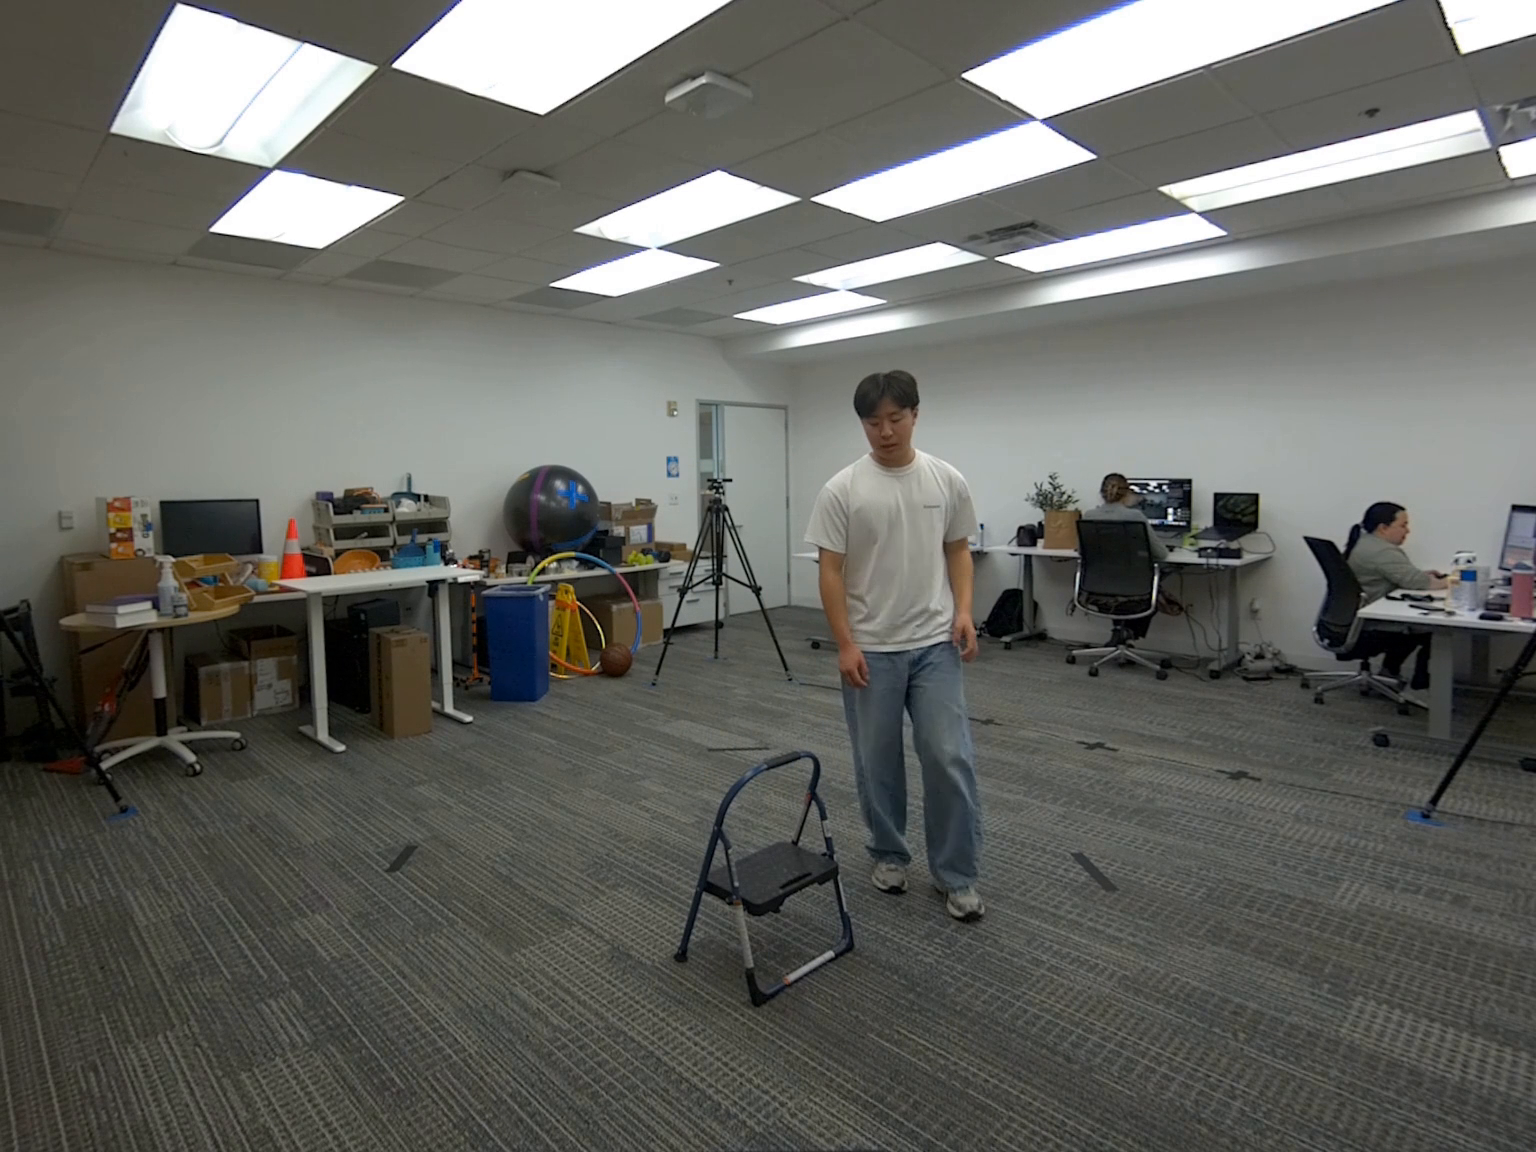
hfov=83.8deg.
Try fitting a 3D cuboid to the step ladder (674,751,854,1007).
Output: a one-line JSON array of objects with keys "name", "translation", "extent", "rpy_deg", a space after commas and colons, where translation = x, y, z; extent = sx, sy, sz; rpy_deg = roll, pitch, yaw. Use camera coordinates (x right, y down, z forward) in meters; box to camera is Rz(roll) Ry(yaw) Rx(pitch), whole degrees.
[{"name": "step ladder", "translation": [-0.009, 0.810, 2.502], "extent": [0.360, 0.604, 0.419], "rpy_deg": [3, 6, 45]}]
